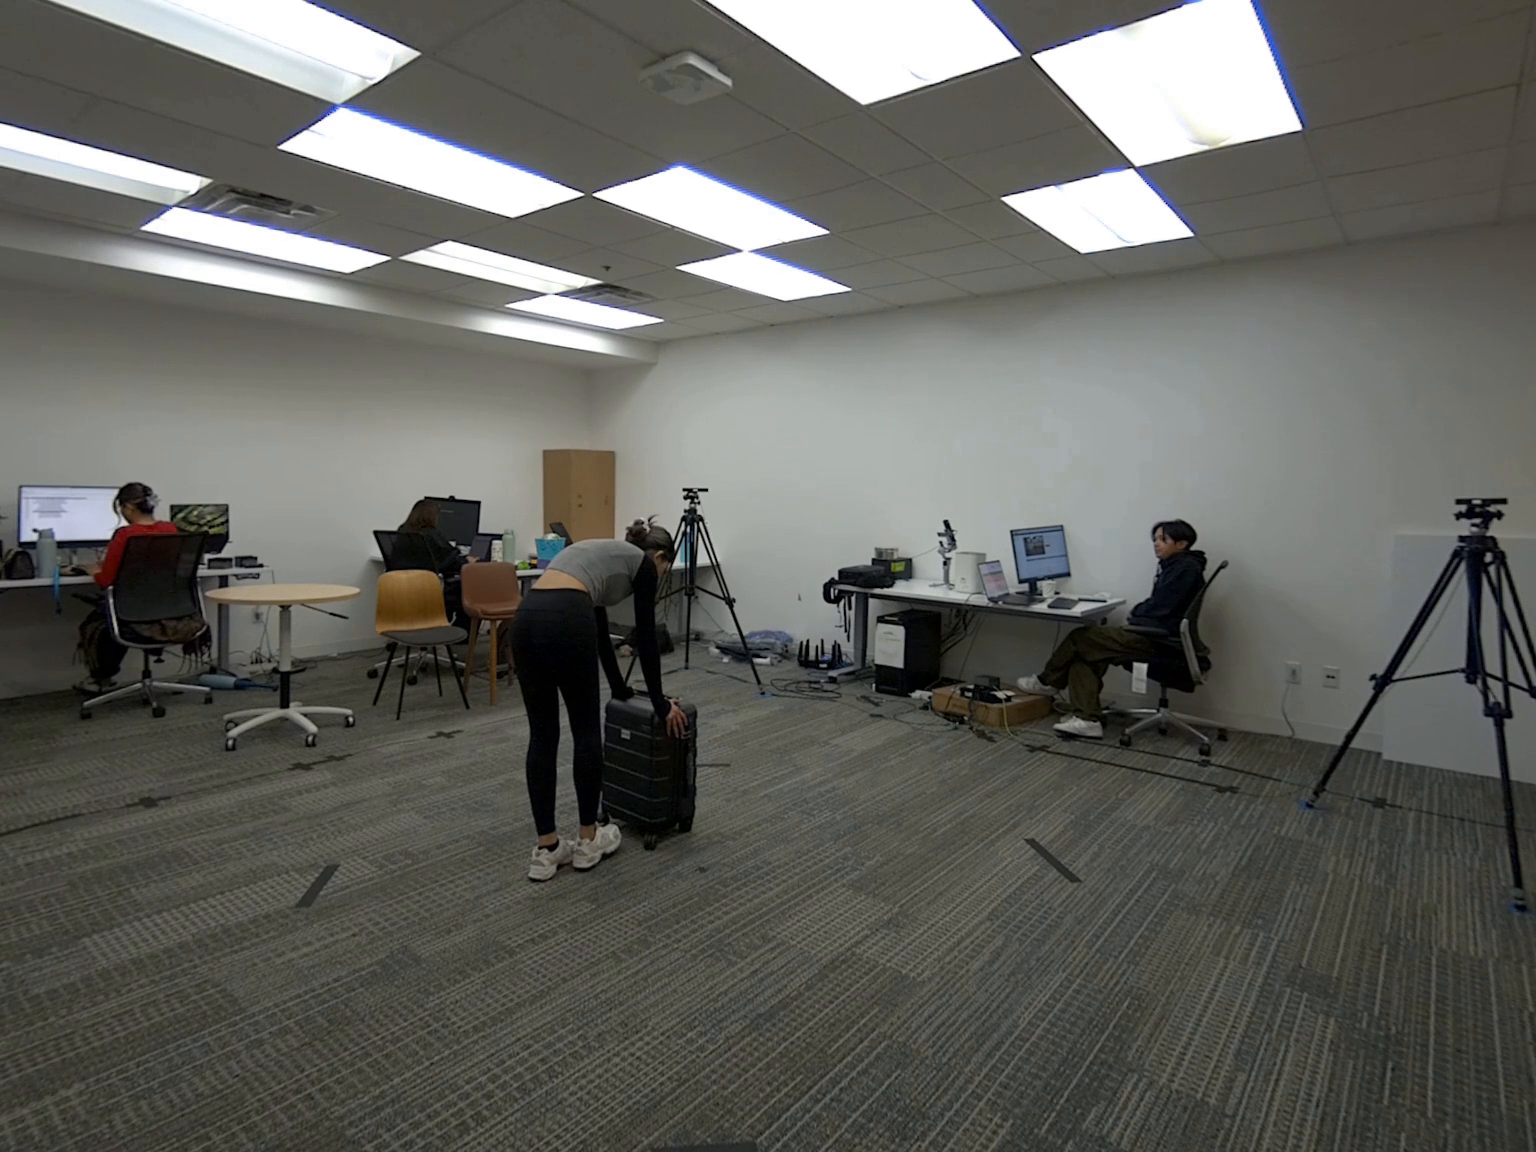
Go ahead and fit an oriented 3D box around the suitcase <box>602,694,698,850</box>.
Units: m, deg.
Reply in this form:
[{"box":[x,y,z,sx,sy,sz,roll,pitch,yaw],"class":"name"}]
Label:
[{"box":[-0.491,0.755,3.475,0.388,0.548,0.240,4,3,41],"class":"suitcase"}]
